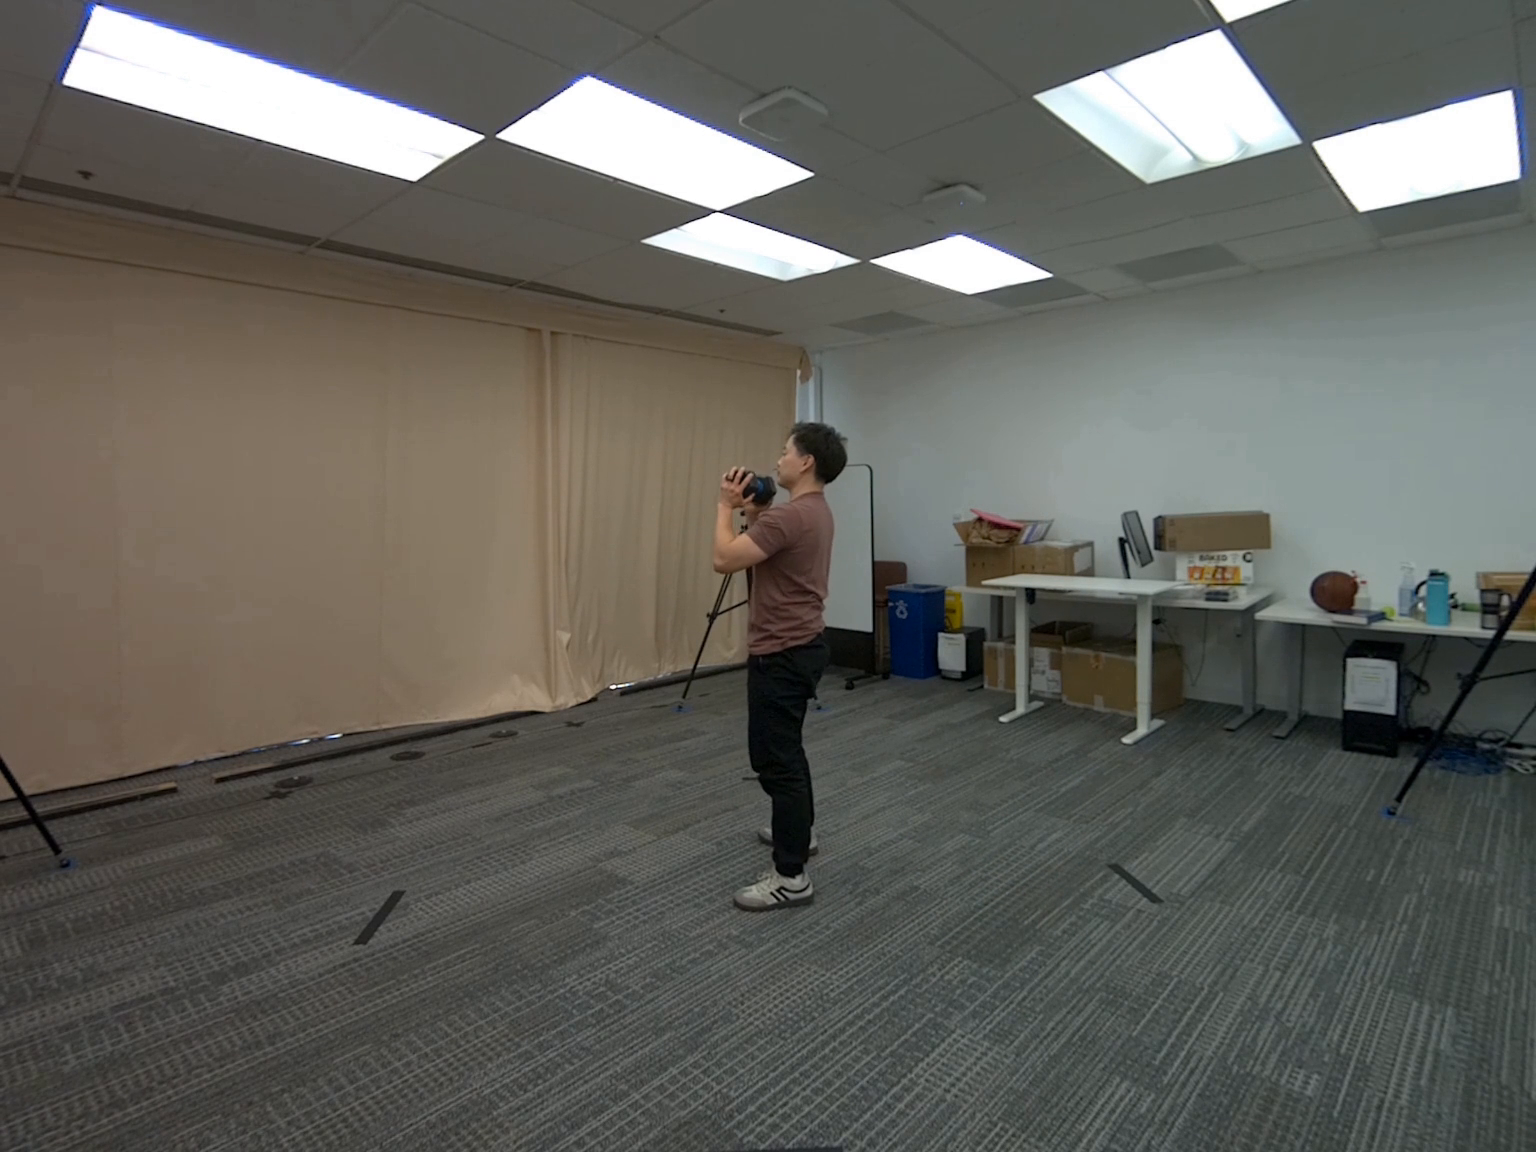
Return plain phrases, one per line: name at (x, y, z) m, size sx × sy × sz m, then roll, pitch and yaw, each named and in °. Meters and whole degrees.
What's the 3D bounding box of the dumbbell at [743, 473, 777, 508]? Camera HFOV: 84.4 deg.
dumbbell at (-0.054, -0.330, 3.109) m, size 0.110 × 0.123 × 0.289 m, roll -21°, pitch -3°, yaw 15°
